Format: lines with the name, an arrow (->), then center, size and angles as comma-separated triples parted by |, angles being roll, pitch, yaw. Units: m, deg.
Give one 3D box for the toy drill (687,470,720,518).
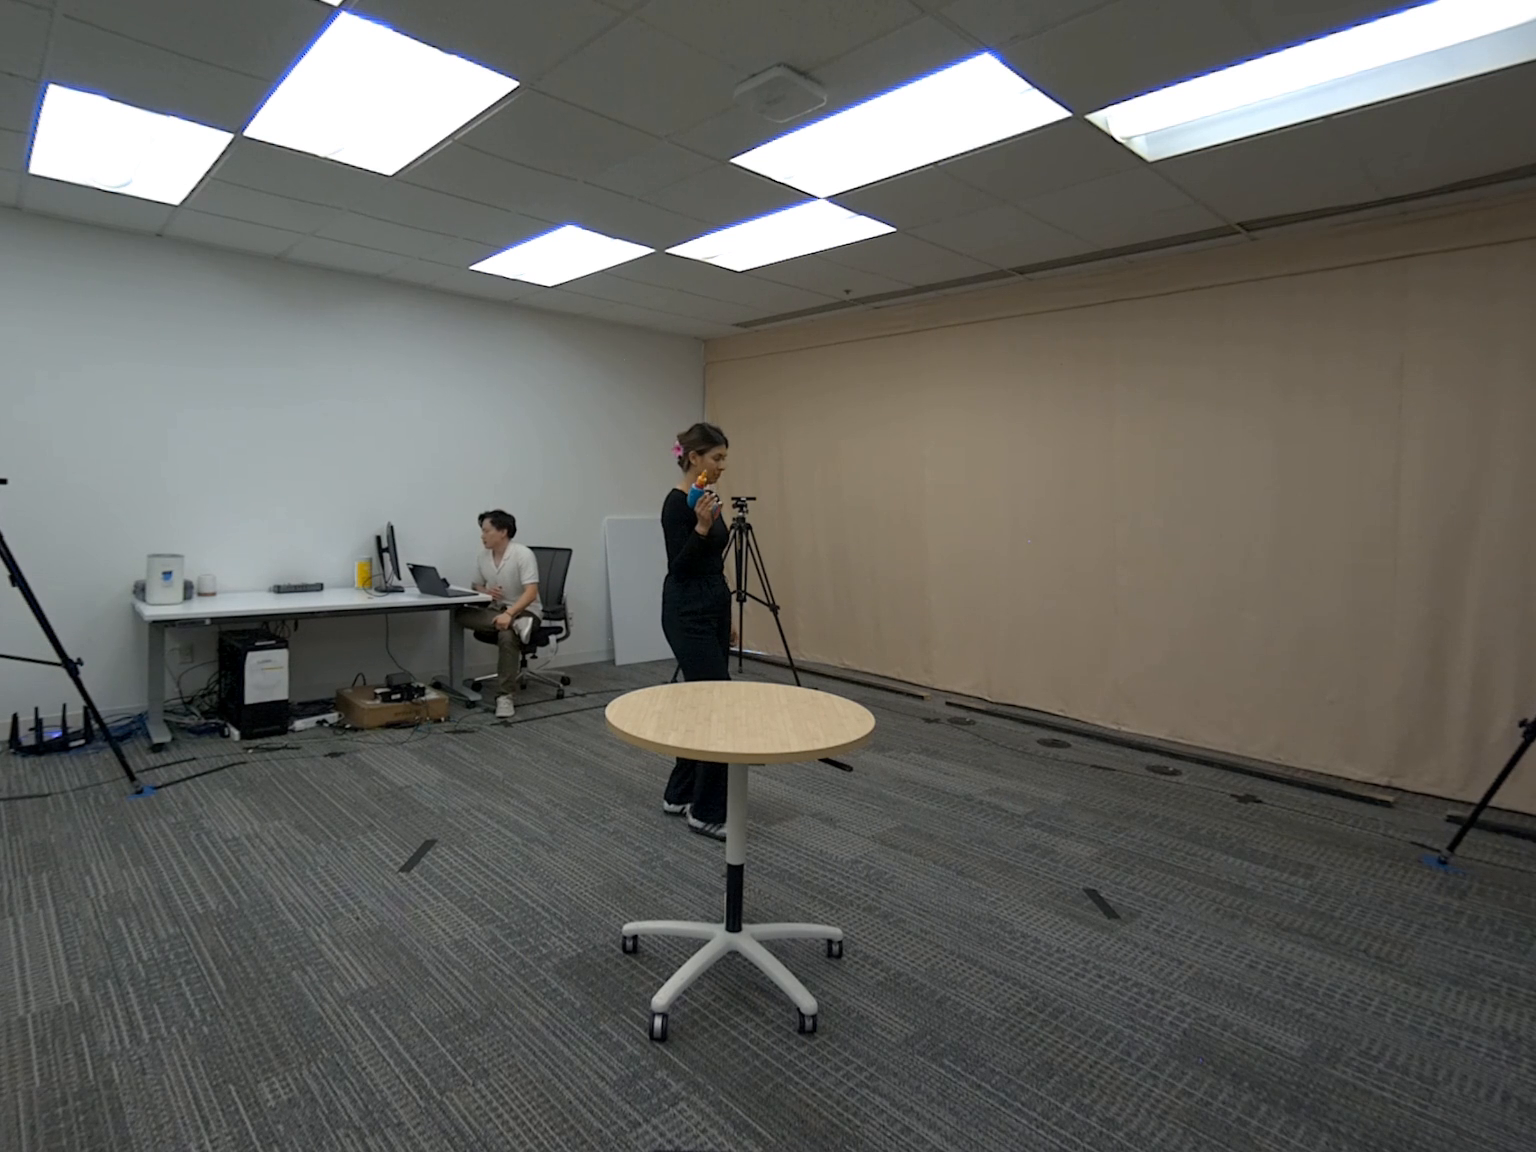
toy drill -> -0.244, -0.319, 3.263 | 0.147, 0.169, 0.061 | 30, 23, 5
